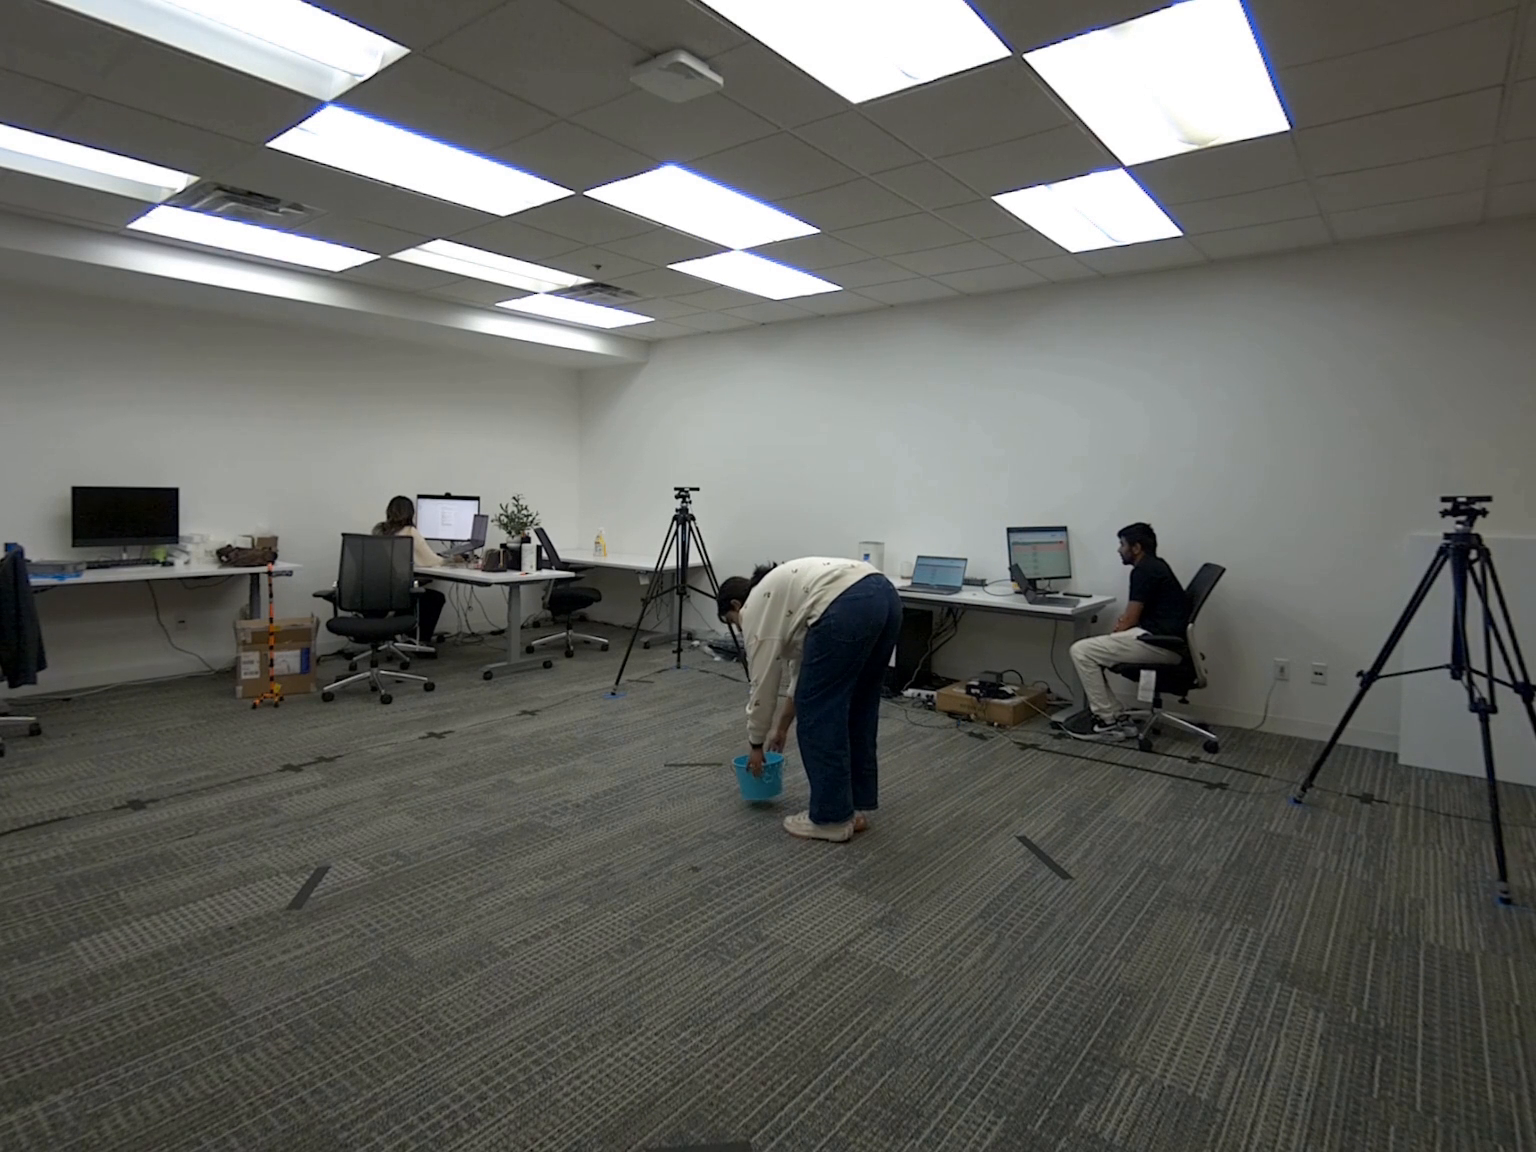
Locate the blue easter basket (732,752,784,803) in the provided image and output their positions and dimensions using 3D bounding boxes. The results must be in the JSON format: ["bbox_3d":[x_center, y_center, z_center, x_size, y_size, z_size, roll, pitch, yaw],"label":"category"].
[{"bbox_3d":[-0.047,0.867,3.763,0.243,0.156,0.244,-4,1,-2],"label":"blue easter basket"}]
